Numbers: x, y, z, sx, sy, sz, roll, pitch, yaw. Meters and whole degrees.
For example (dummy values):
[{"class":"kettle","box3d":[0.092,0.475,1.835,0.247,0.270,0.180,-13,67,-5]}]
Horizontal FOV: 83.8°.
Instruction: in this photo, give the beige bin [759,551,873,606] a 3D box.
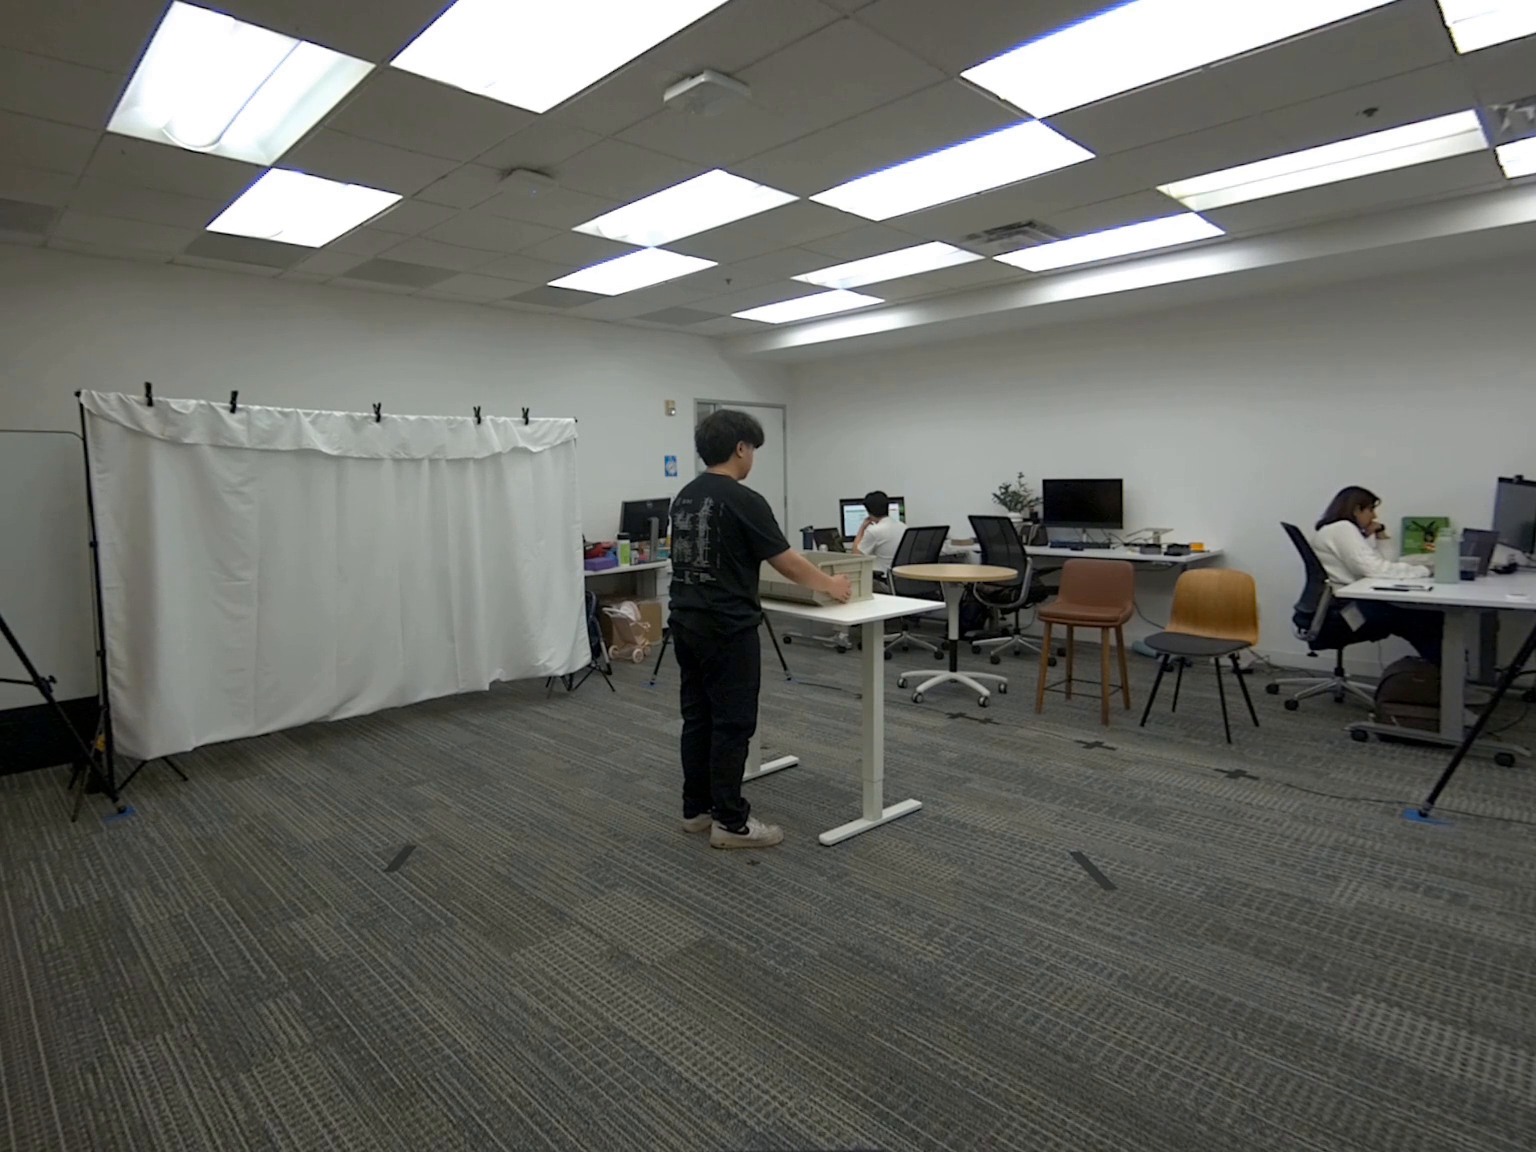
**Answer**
[{"class":"beige bin","box3d":[0.184,0.011,3.629,0.368,0.188,0.435,-5,7,-38]}]
